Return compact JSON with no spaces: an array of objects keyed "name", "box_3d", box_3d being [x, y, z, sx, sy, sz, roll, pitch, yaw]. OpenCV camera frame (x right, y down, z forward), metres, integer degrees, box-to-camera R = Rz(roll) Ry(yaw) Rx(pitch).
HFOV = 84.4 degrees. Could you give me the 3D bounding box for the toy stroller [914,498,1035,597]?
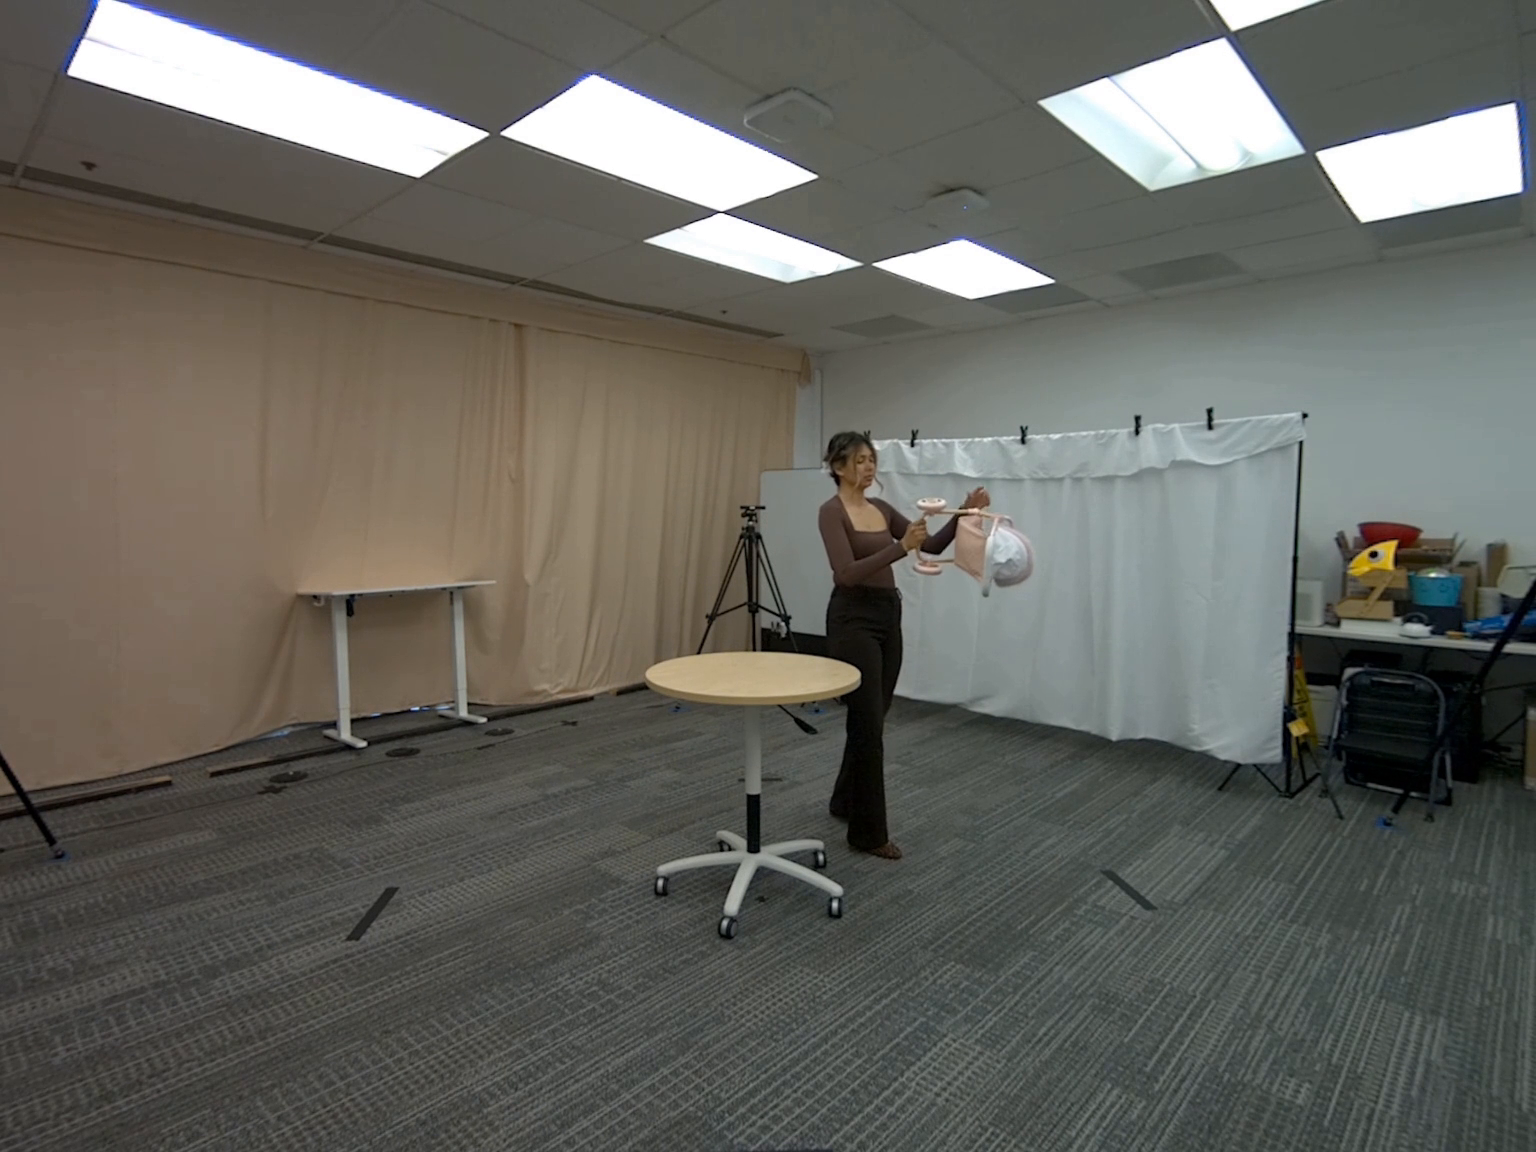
[{"name":"toy stroller","box_3d":[0.766,-0.107,3.055,0.334,0.279,0.550,-3,17,-21]}]
